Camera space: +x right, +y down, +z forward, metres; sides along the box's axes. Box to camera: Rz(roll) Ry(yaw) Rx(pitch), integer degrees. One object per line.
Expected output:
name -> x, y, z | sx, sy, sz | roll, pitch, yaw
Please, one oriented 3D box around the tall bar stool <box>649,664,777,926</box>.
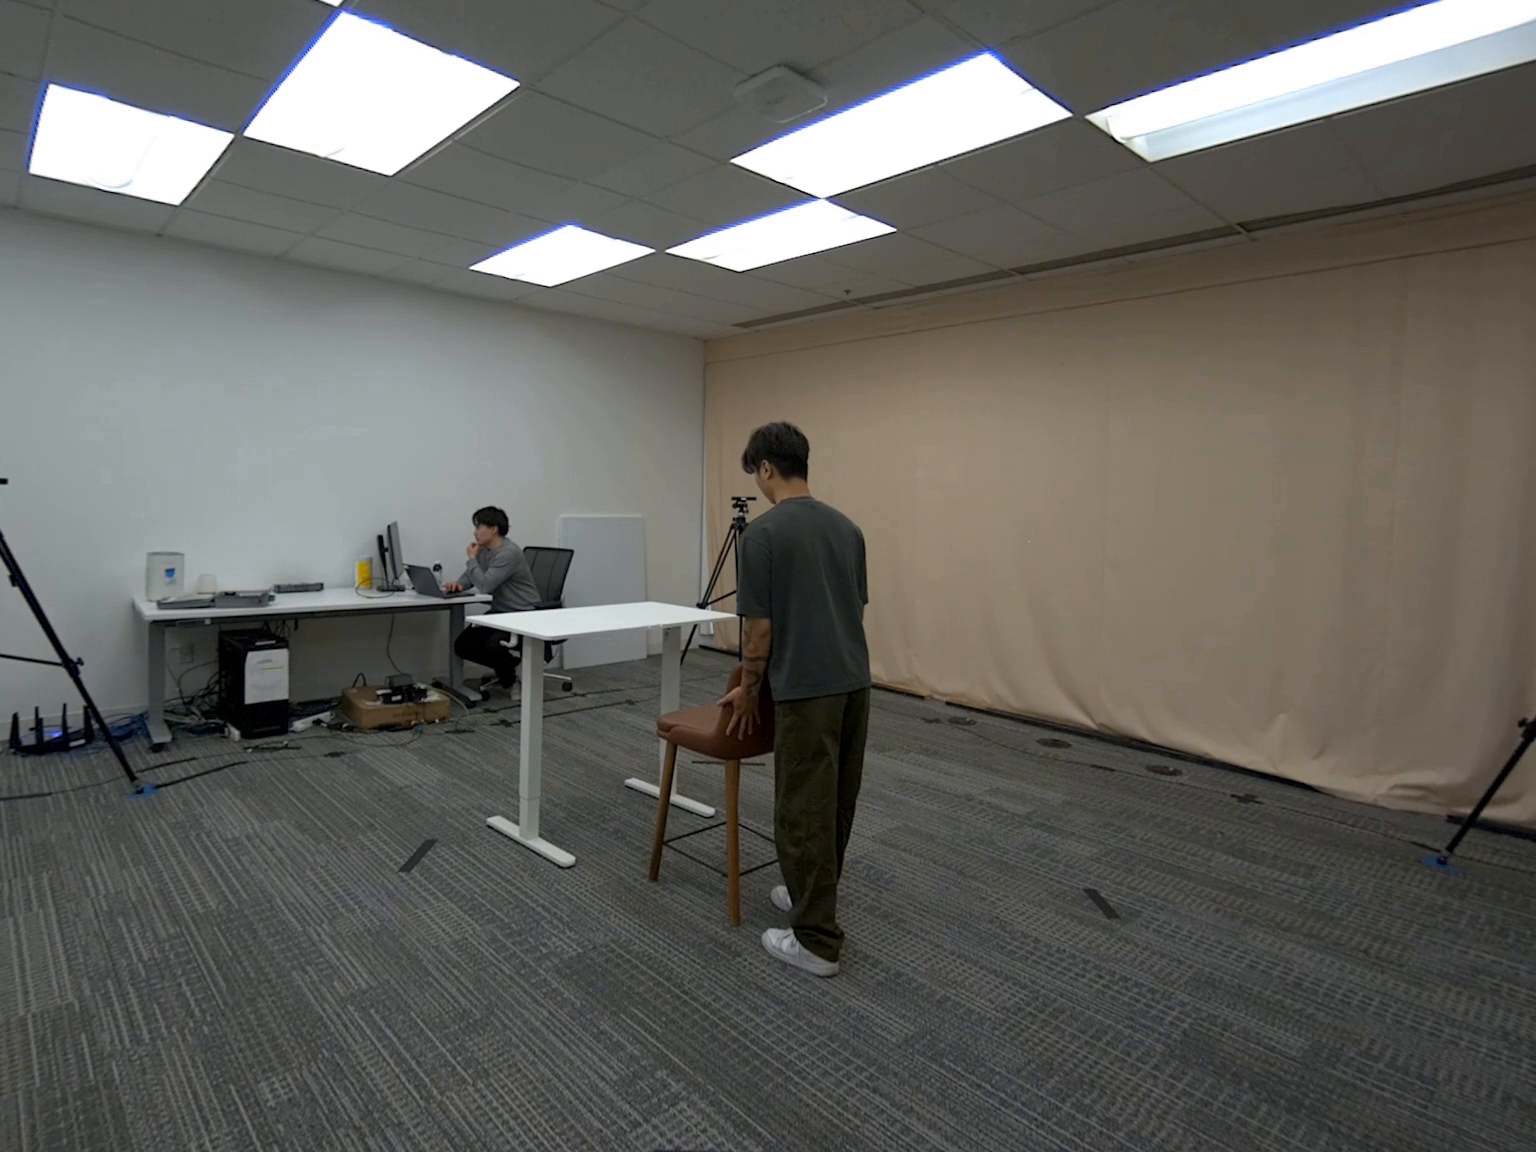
tall bar stool -> -0.125, 0.681, 2.996 | 0.446, 0.887, 0.480 | -1, 6, -44
